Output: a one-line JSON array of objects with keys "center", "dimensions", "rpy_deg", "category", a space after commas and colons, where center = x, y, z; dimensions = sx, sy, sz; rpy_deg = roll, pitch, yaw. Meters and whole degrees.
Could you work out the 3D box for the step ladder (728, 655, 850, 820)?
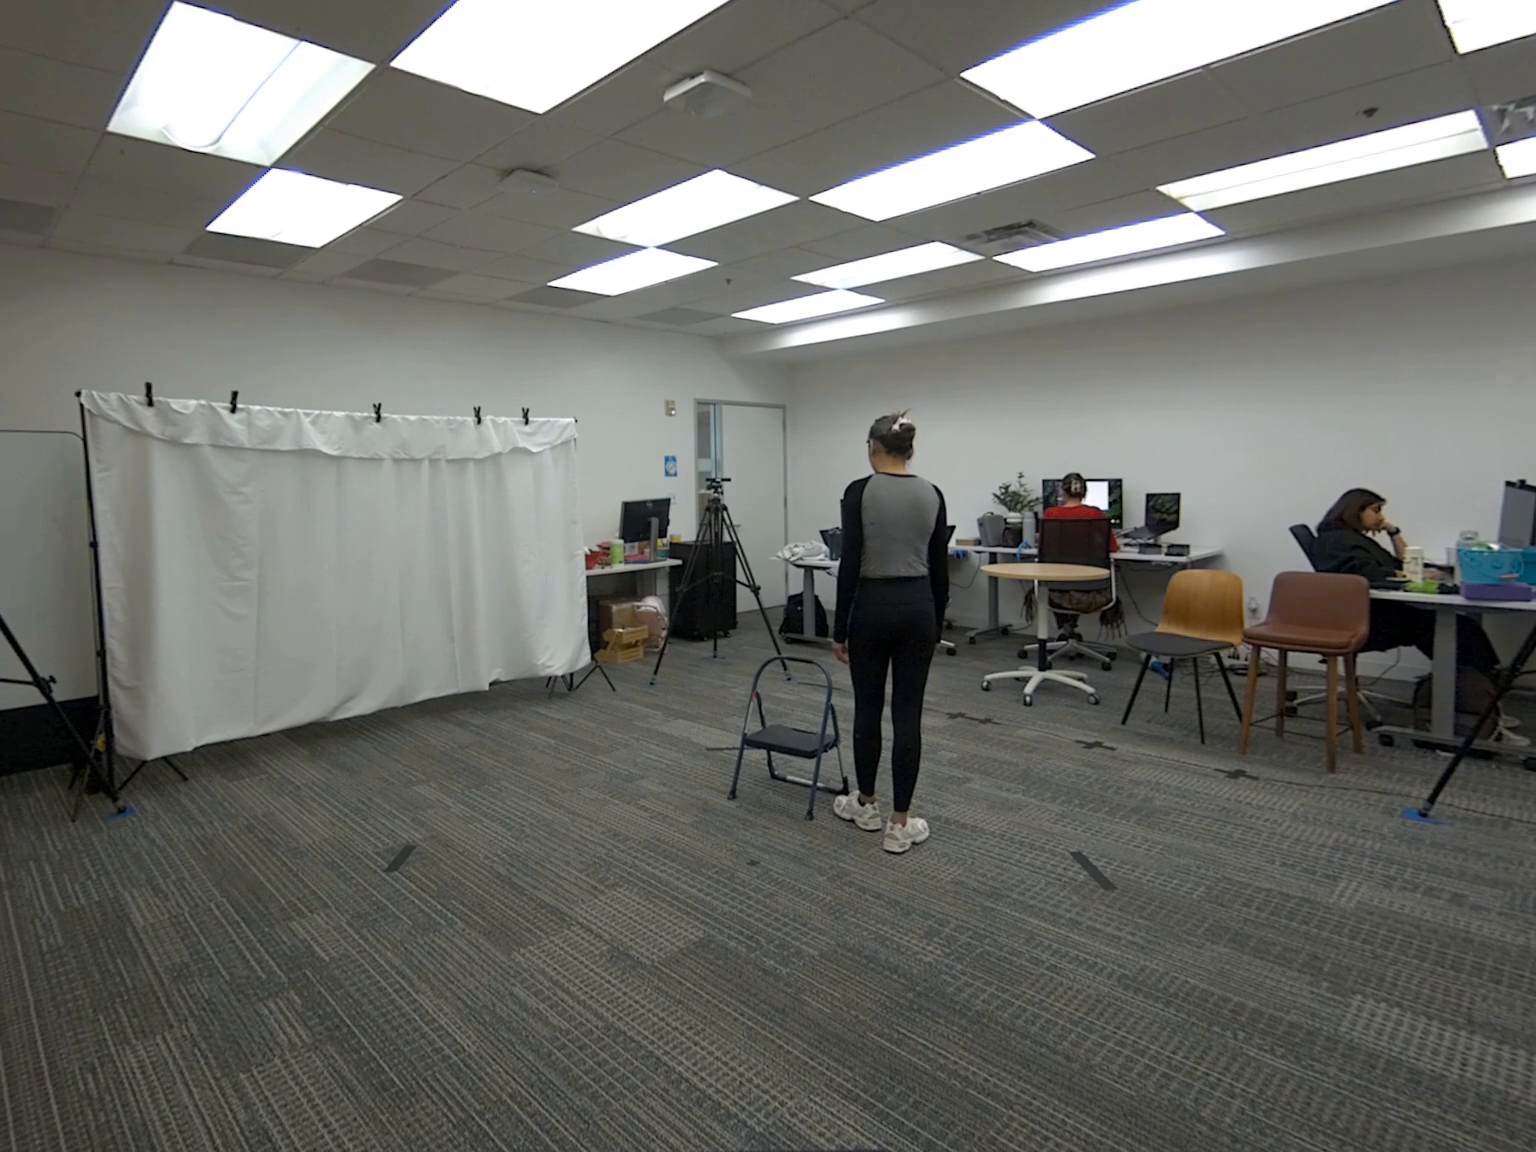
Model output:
[{"center": [0.089, 0.667, 3.727], "dimensions": [0.443, 0.604, 0.340], "rpy_deg": [3, 5, 36], "category": "step ladder"}]
